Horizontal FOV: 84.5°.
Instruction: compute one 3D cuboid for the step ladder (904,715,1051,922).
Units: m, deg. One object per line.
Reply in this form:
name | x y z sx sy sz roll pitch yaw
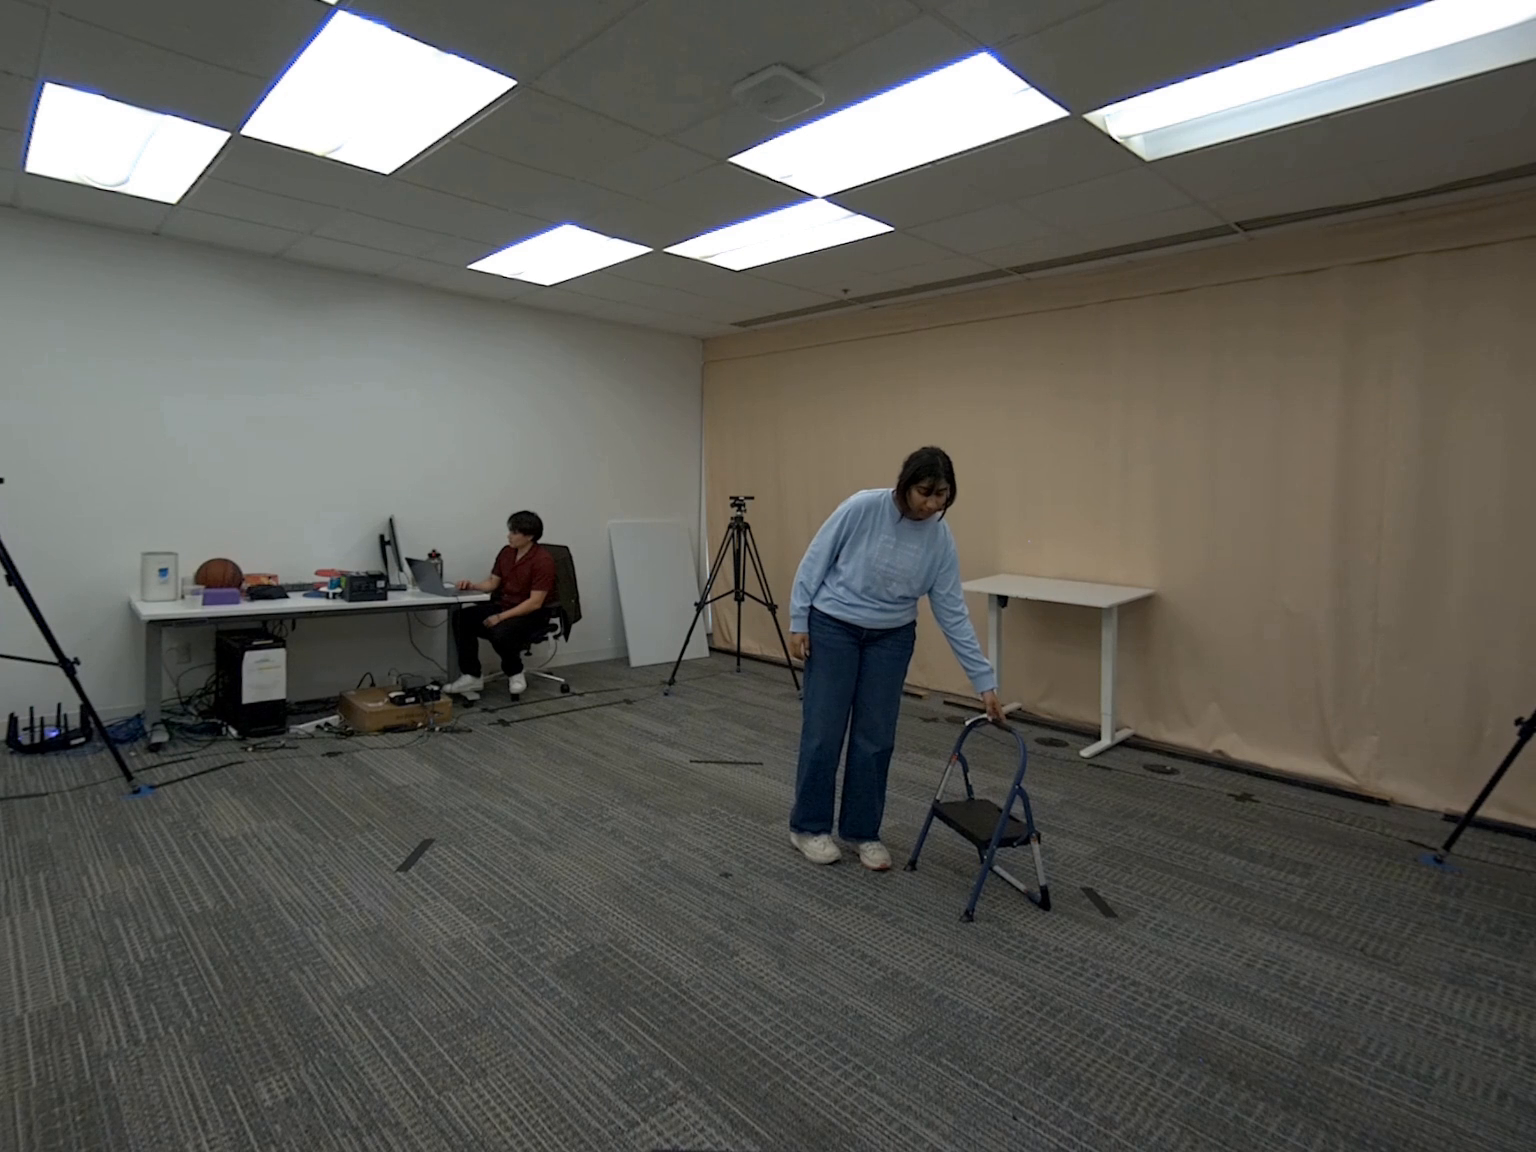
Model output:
step ladder | 0.753 0.833 3.029 0.344 0.605 0.437 1 4 -18
